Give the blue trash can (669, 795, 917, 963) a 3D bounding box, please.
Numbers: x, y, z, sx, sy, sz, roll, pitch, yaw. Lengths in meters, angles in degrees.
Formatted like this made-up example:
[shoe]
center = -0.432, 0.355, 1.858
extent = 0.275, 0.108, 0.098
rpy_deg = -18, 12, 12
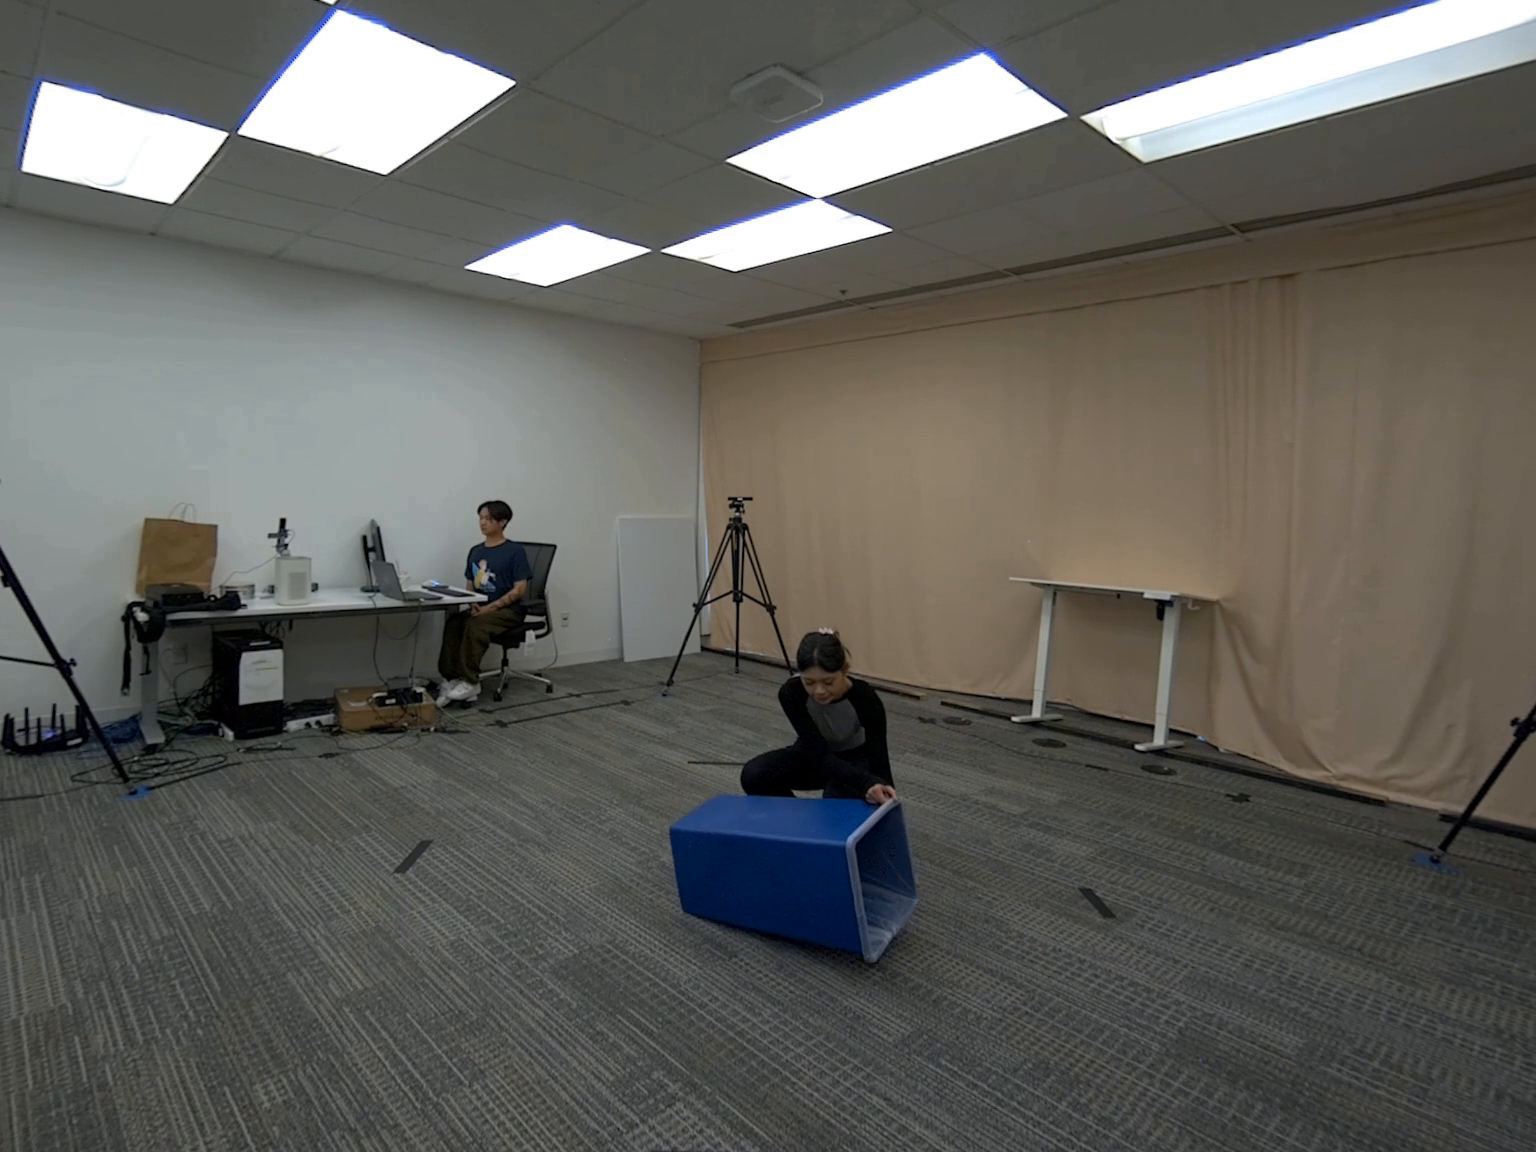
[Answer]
[blue trash can]
center = 0.051, 0.930, 2.731
extent = 0.727, 0.377, 0.368
rpy_deg = -6, 5, 34
